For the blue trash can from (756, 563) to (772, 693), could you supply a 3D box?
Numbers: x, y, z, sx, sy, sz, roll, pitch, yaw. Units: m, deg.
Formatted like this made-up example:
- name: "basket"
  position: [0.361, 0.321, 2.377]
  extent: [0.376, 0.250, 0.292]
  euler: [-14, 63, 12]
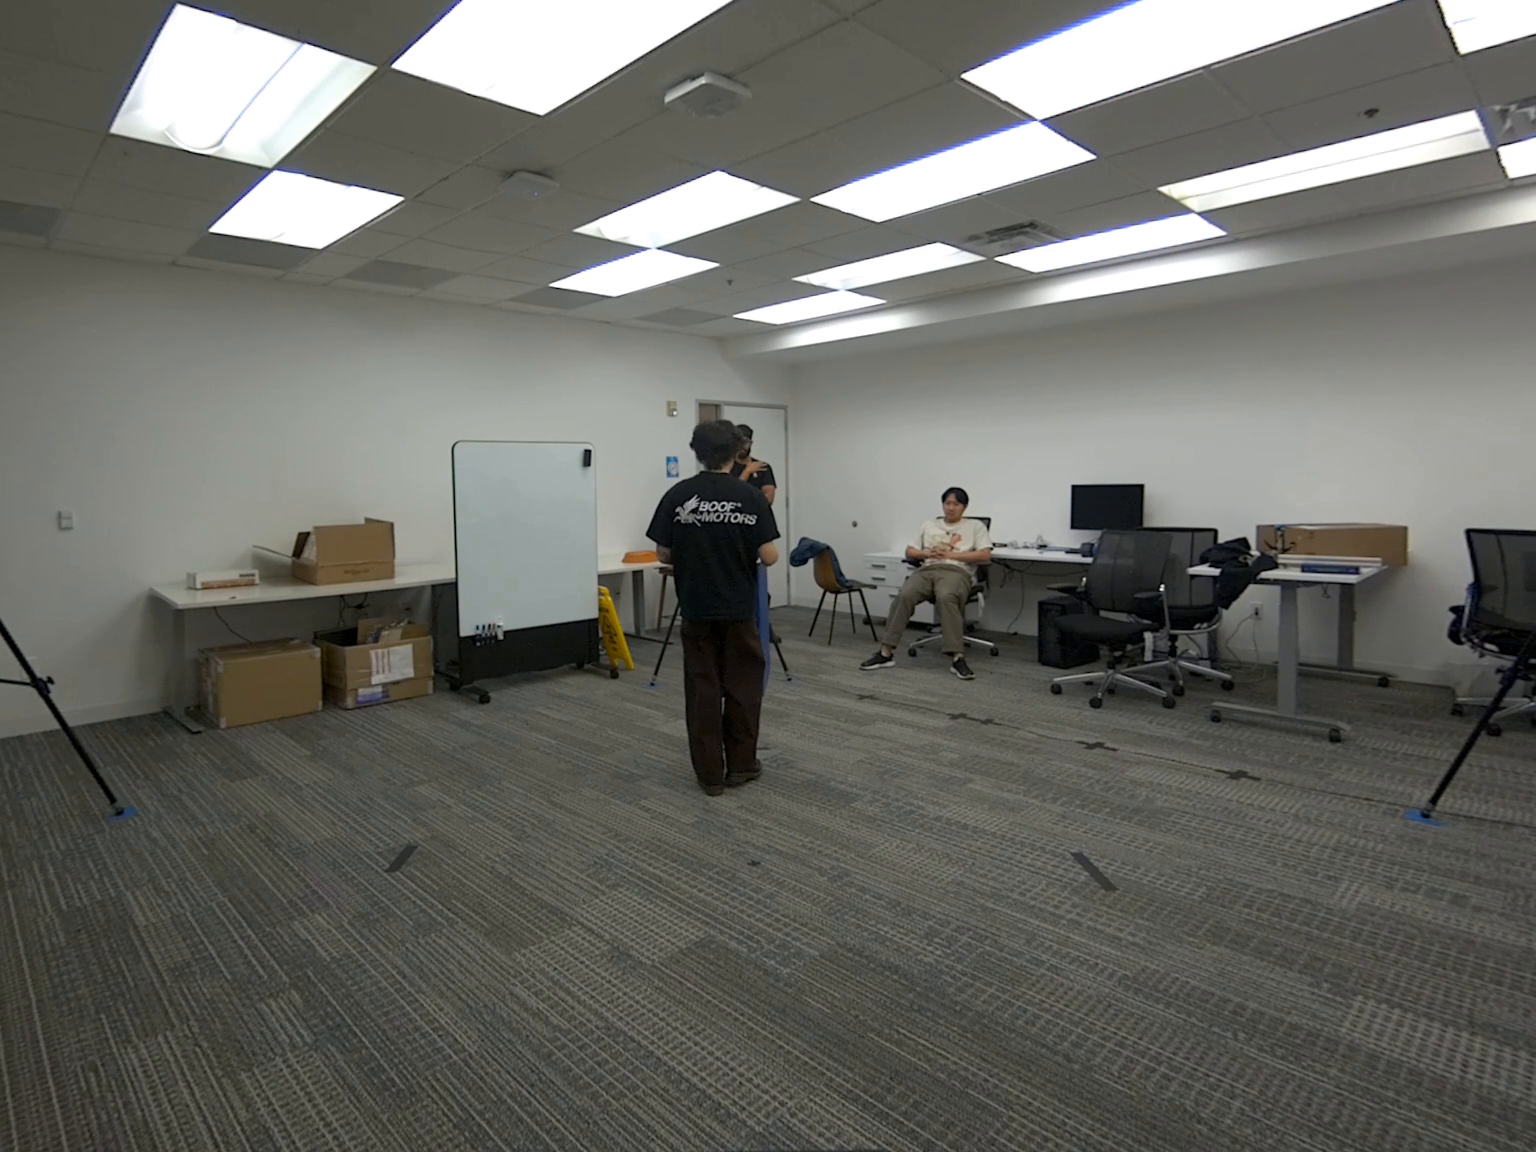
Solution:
- name: "blue trash can"
  position: [-0.162, 0.216, 4.229]
  extent: [0.378, 0.702, 0.380]
  euler: [-1, 18, 10]
